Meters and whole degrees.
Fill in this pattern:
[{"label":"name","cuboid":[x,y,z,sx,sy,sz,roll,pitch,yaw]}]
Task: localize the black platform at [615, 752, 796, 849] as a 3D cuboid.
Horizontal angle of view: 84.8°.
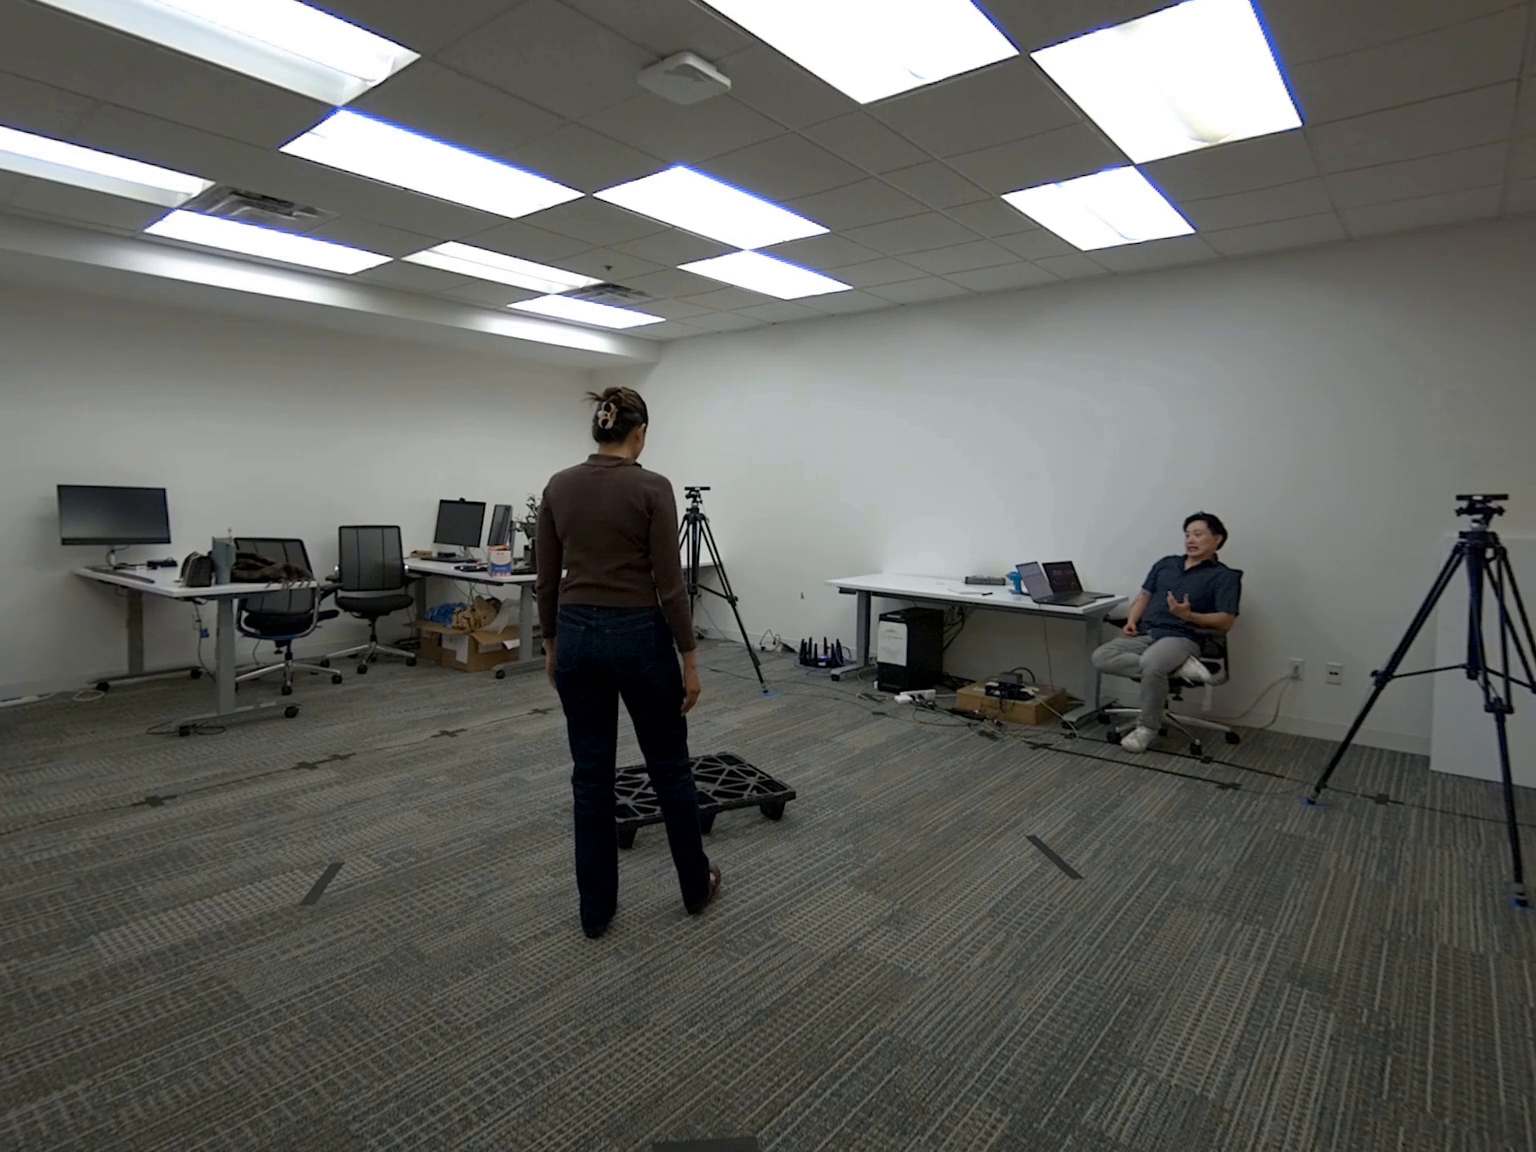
[{"label":"black platform","cuboid":[-0.374,0.945,3.628,0.785,0.142,0.624,-3,7,-29]}]
